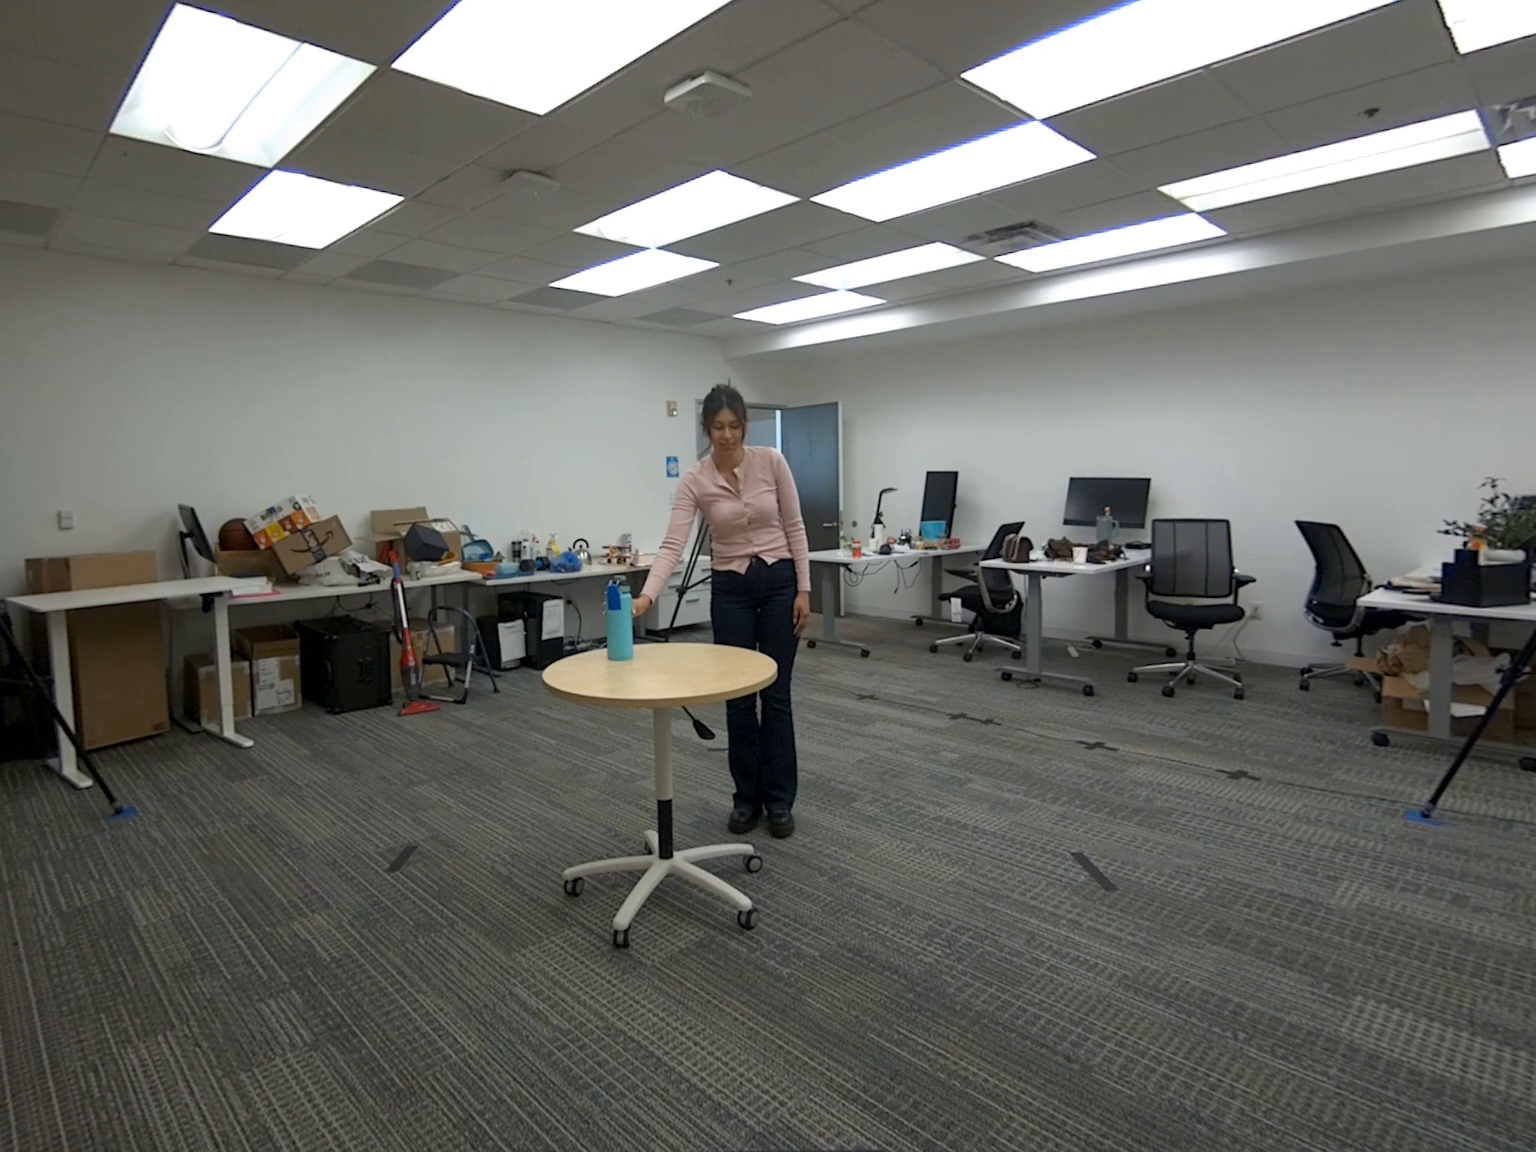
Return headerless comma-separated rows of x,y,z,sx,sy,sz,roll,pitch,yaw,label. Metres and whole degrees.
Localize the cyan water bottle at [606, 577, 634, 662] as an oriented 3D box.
-0.514,0.147,2.945,0.092,0.282,0.093,-2,5,-1,cyan water bottle
